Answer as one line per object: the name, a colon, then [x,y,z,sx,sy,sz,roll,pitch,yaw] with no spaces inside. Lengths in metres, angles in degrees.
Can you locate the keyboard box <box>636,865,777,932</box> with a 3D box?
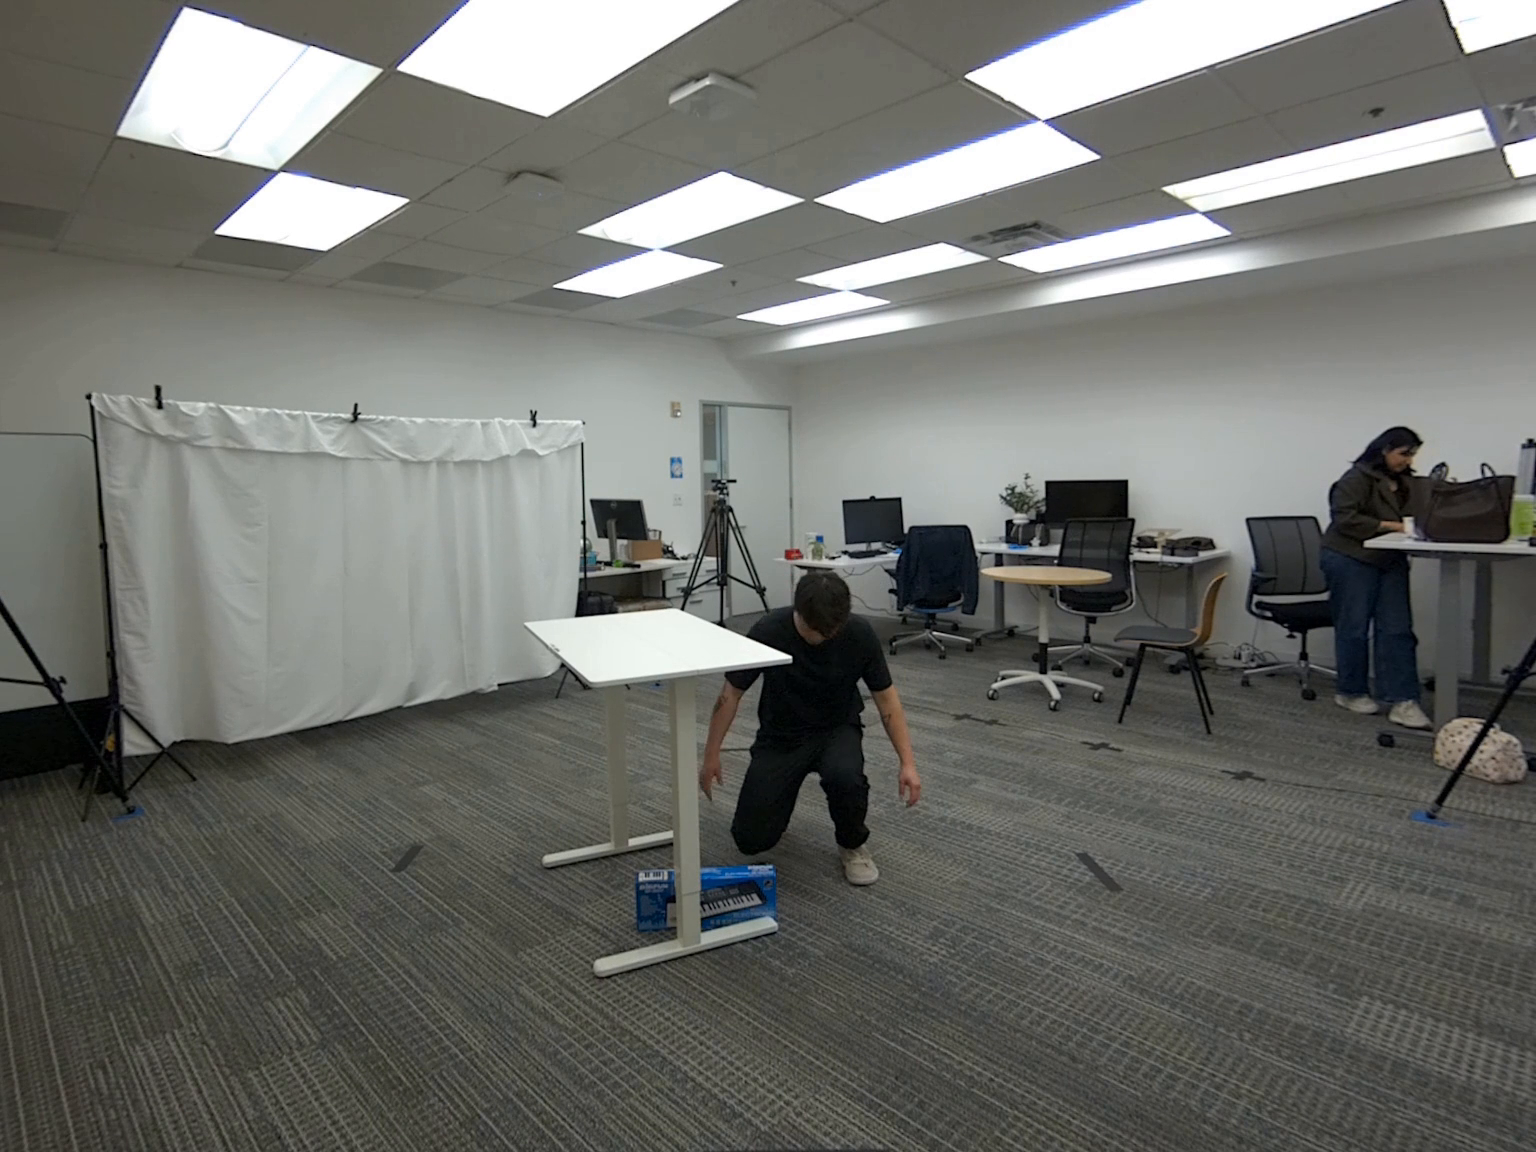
keyboard box: [-0.190,1.011,2.680,0.435,0.174,0.060,-1,10,-3]
